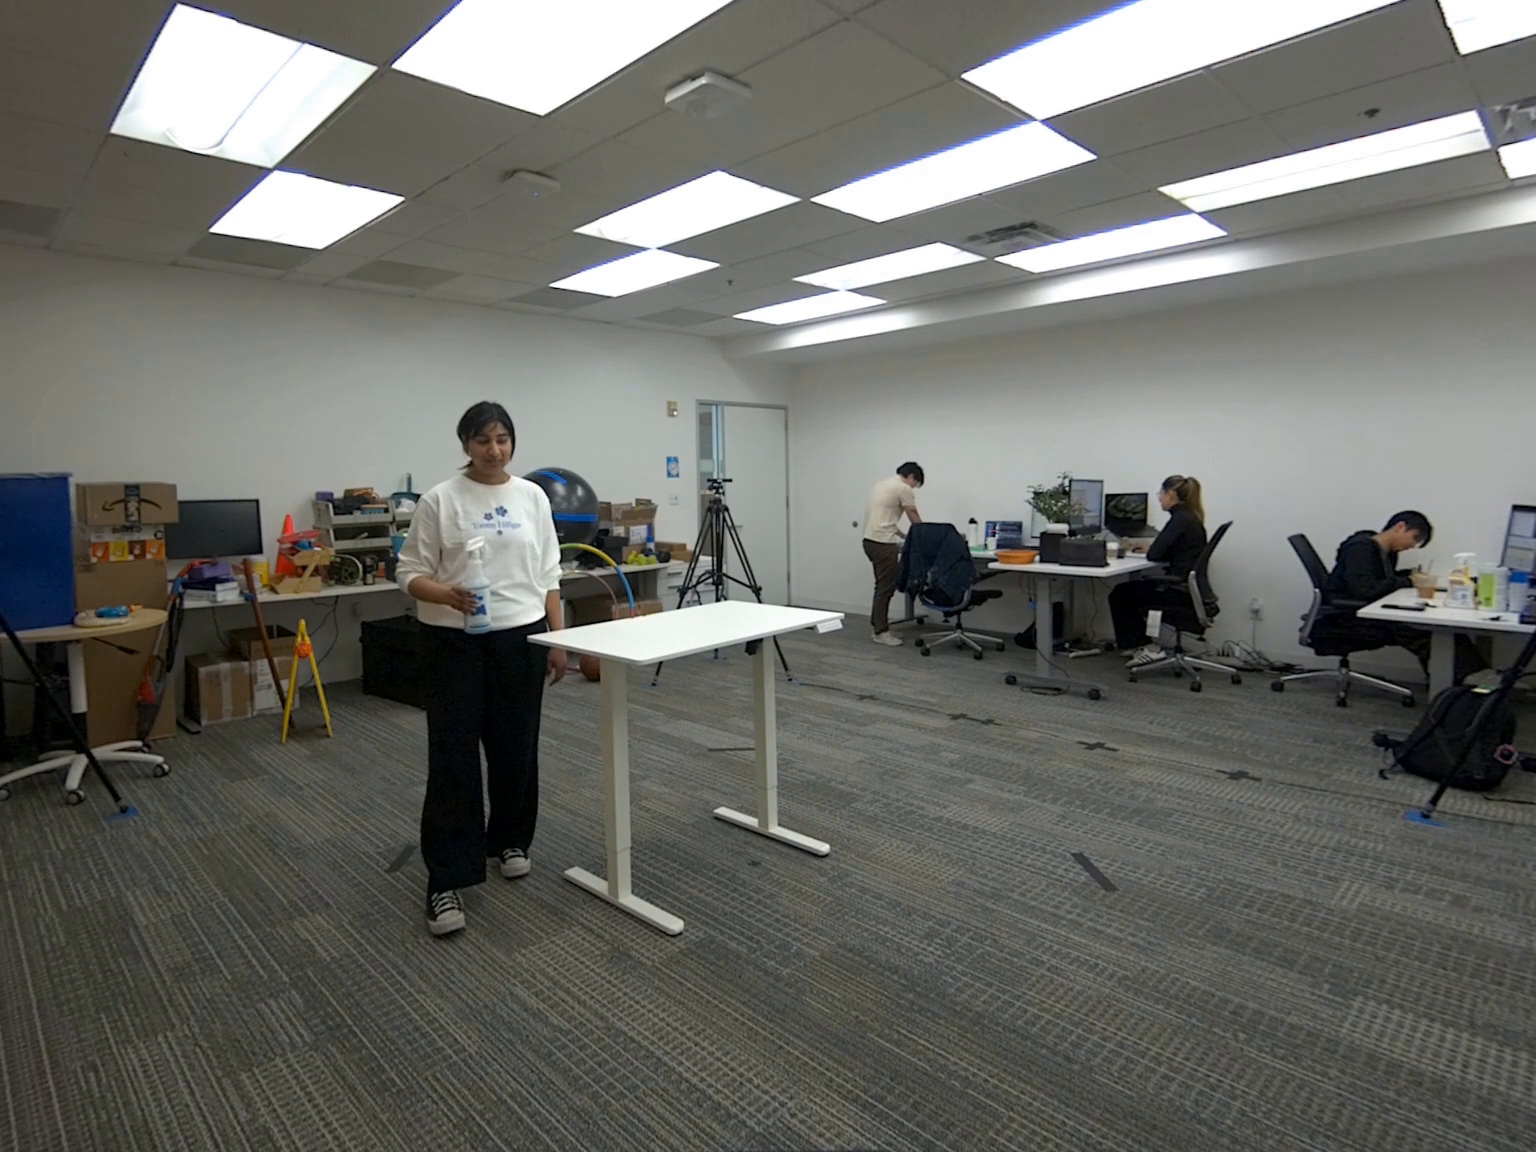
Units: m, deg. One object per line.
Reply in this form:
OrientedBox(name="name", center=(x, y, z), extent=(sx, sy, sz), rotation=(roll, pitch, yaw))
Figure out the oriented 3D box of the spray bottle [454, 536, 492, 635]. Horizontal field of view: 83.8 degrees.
OrientedBox(name="spray bottle", center=(-0.930, 0.030, 2.695), extent=(0.090, 0.295, 0.088), rotation=(7, 12, 37))
